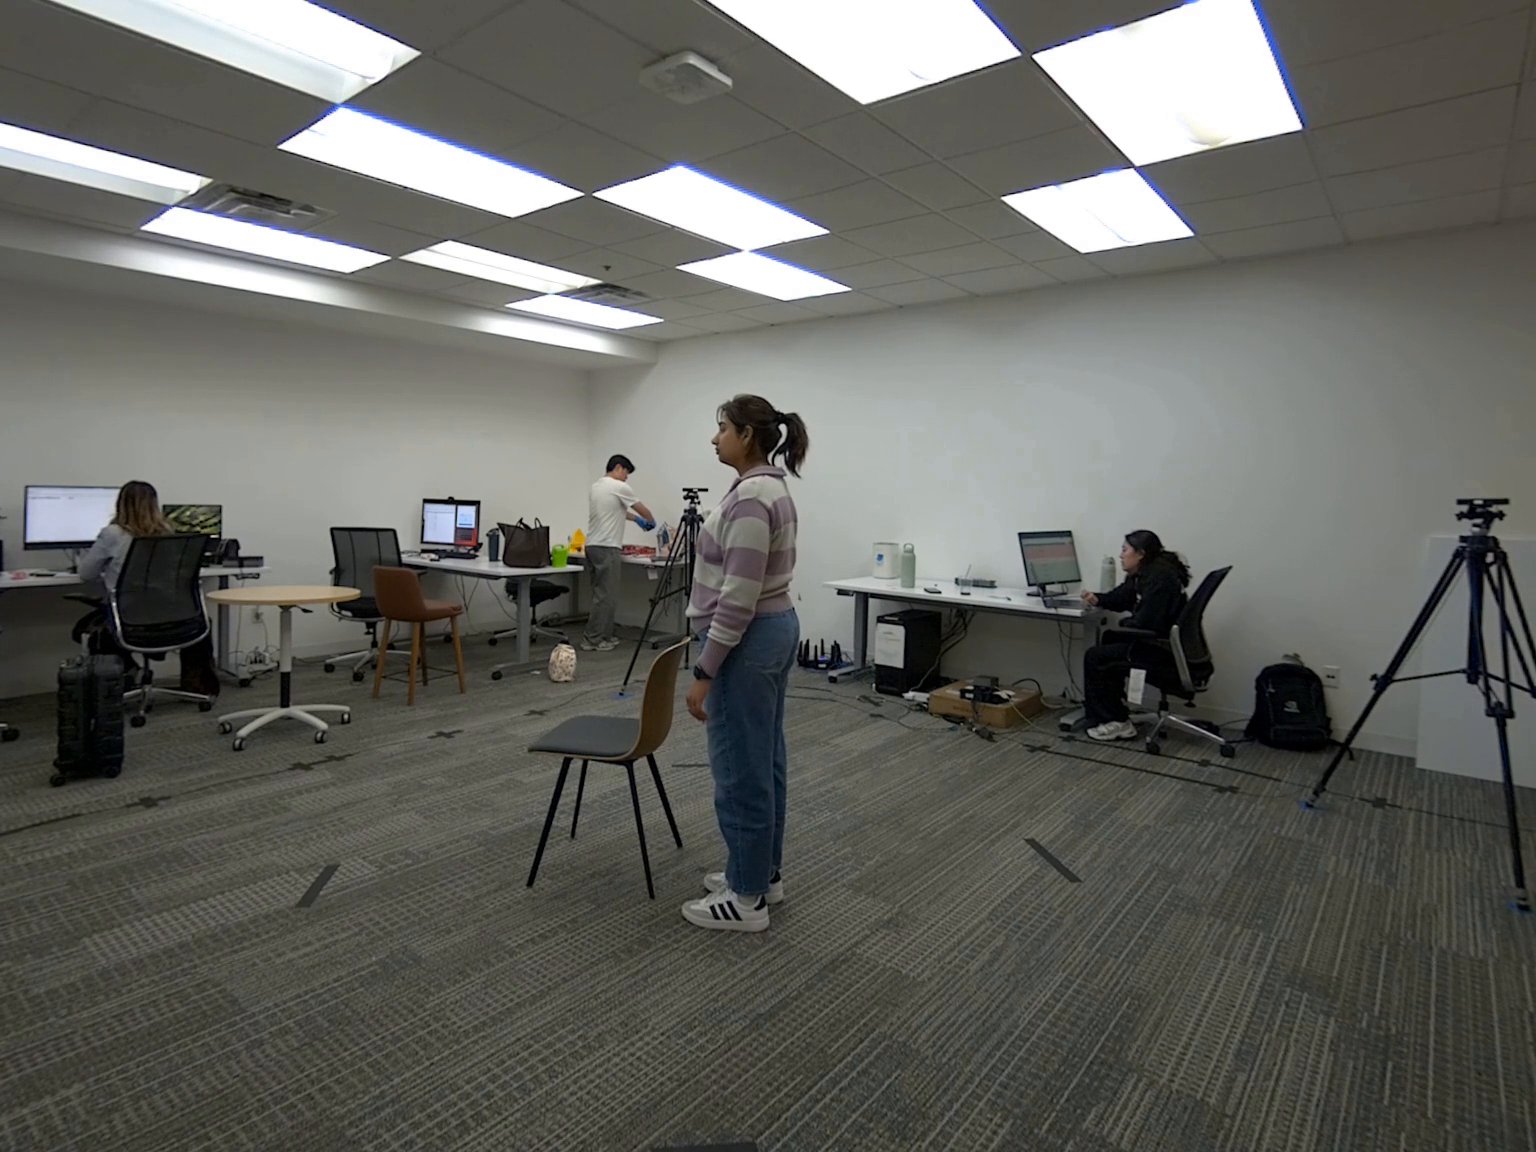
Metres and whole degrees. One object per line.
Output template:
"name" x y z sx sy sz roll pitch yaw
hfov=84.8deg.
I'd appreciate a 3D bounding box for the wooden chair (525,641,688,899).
"wooden chair" -0.594 0.638 3.103 0.529 0.875 0.474 5 4 9
